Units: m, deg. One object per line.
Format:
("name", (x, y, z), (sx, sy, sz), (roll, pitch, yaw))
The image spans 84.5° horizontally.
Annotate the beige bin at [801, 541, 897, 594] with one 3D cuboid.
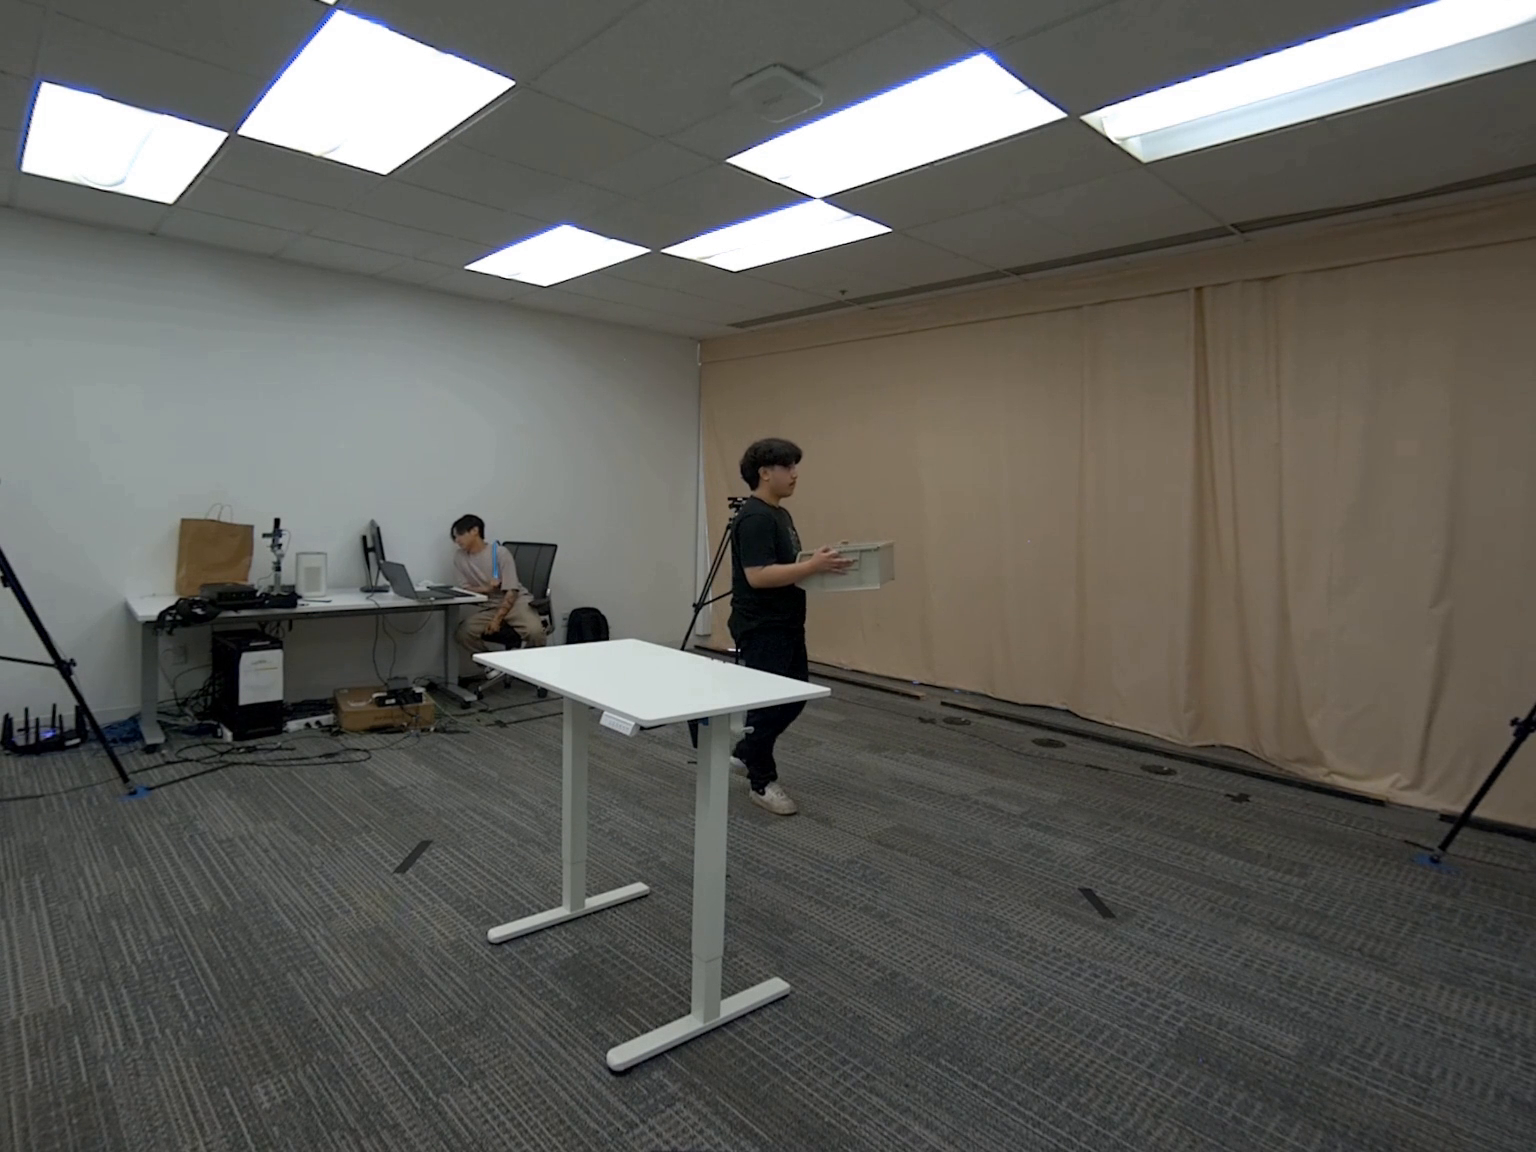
("beige bin", (0.332, -0.043, 3.720), (0.383, 0.189, 0.417), (-3, 3, 20))
